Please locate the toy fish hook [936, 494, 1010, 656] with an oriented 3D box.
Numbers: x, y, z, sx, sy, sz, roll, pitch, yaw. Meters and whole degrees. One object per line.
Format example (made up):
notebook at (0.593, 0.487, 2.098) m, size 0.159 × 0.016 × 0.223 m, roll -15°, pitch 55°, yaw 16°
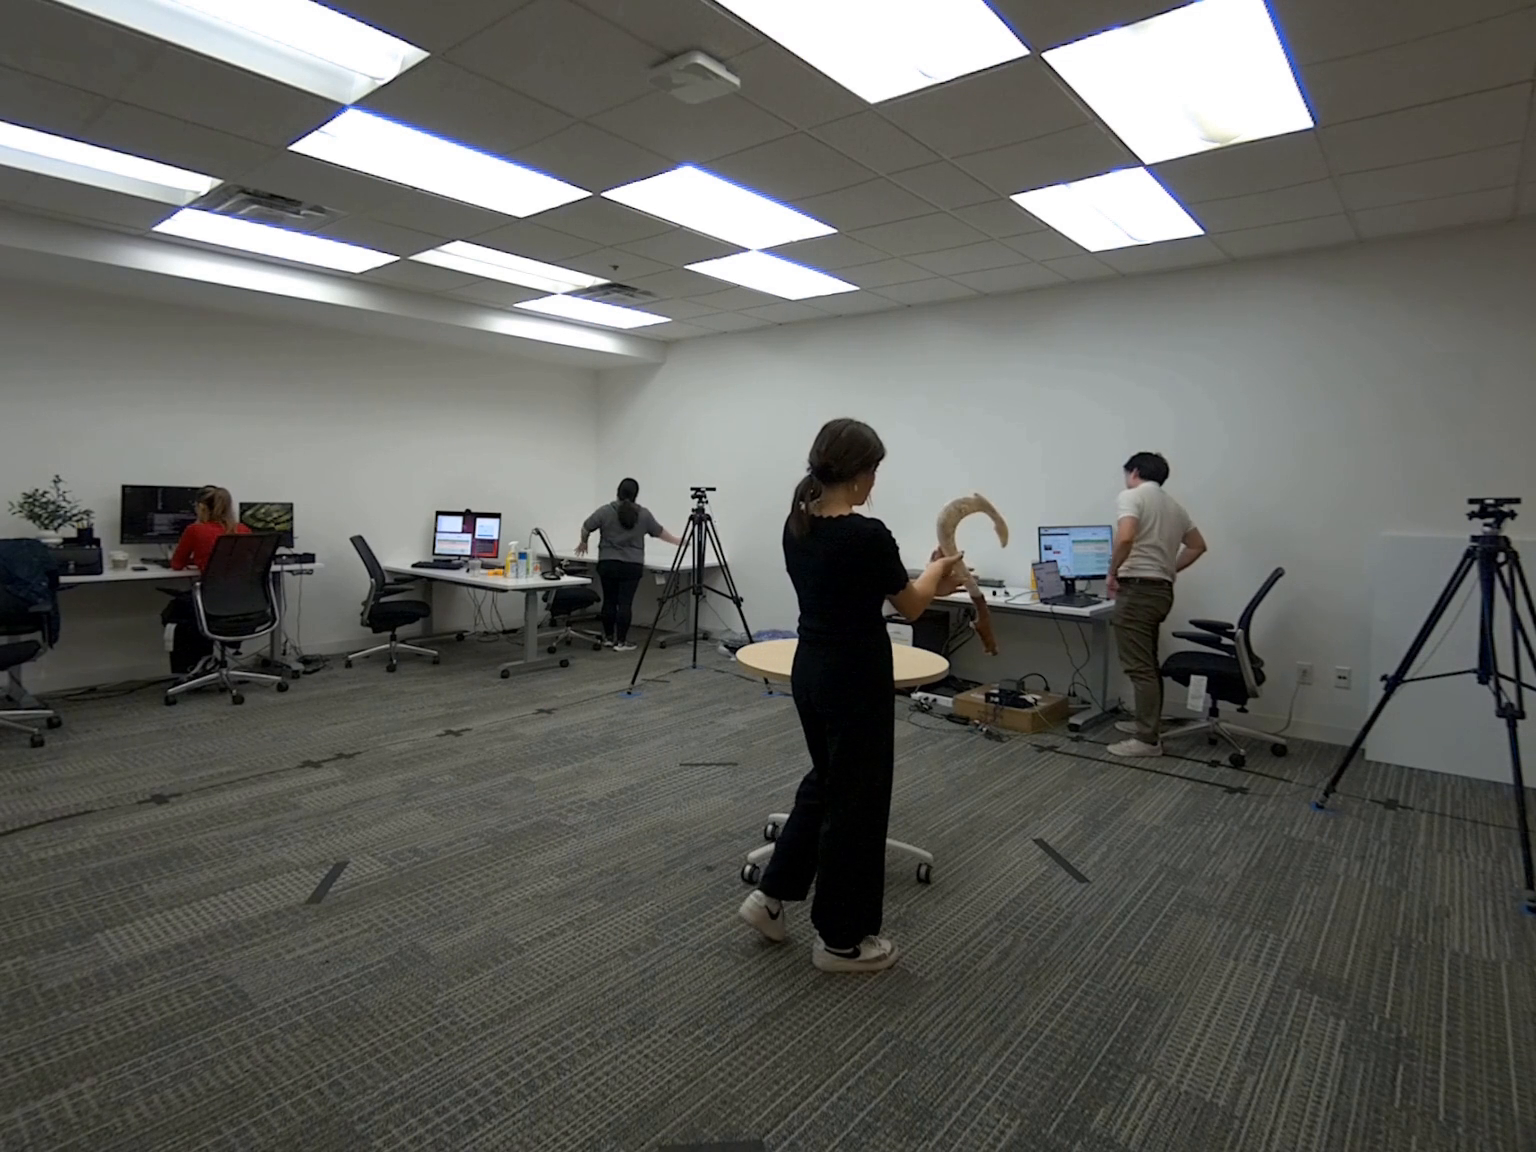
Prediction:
toy fish hook at (0.681, -0.005, 2.635) m, size 0.224 × 0.505 × 0.048 m, roll -16°, pitch 3°, yaw -2°
